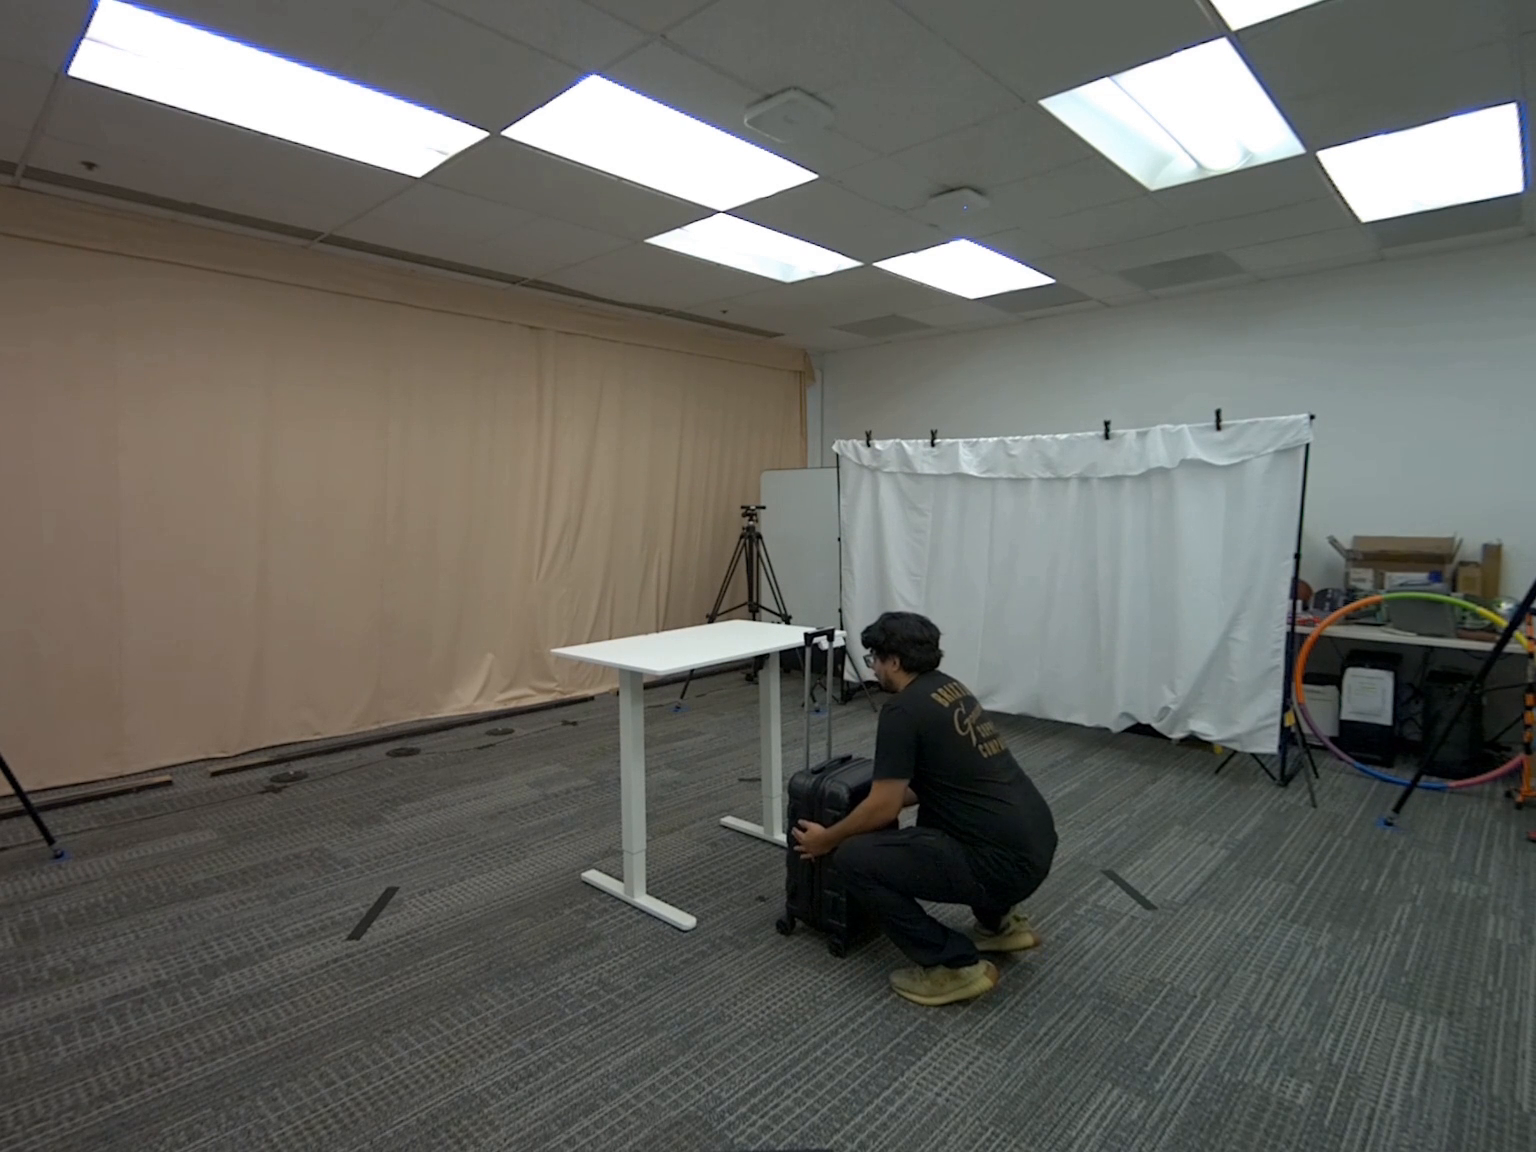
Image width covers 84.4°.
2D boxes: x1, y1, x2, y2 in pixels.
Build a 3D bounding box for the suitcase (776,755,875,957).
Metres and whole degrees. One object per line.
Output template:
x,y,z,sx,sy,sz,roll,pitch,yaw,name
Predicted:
0.258,0.683,2.751,0.265,0.976,0.372,6,5,38,suitcase
